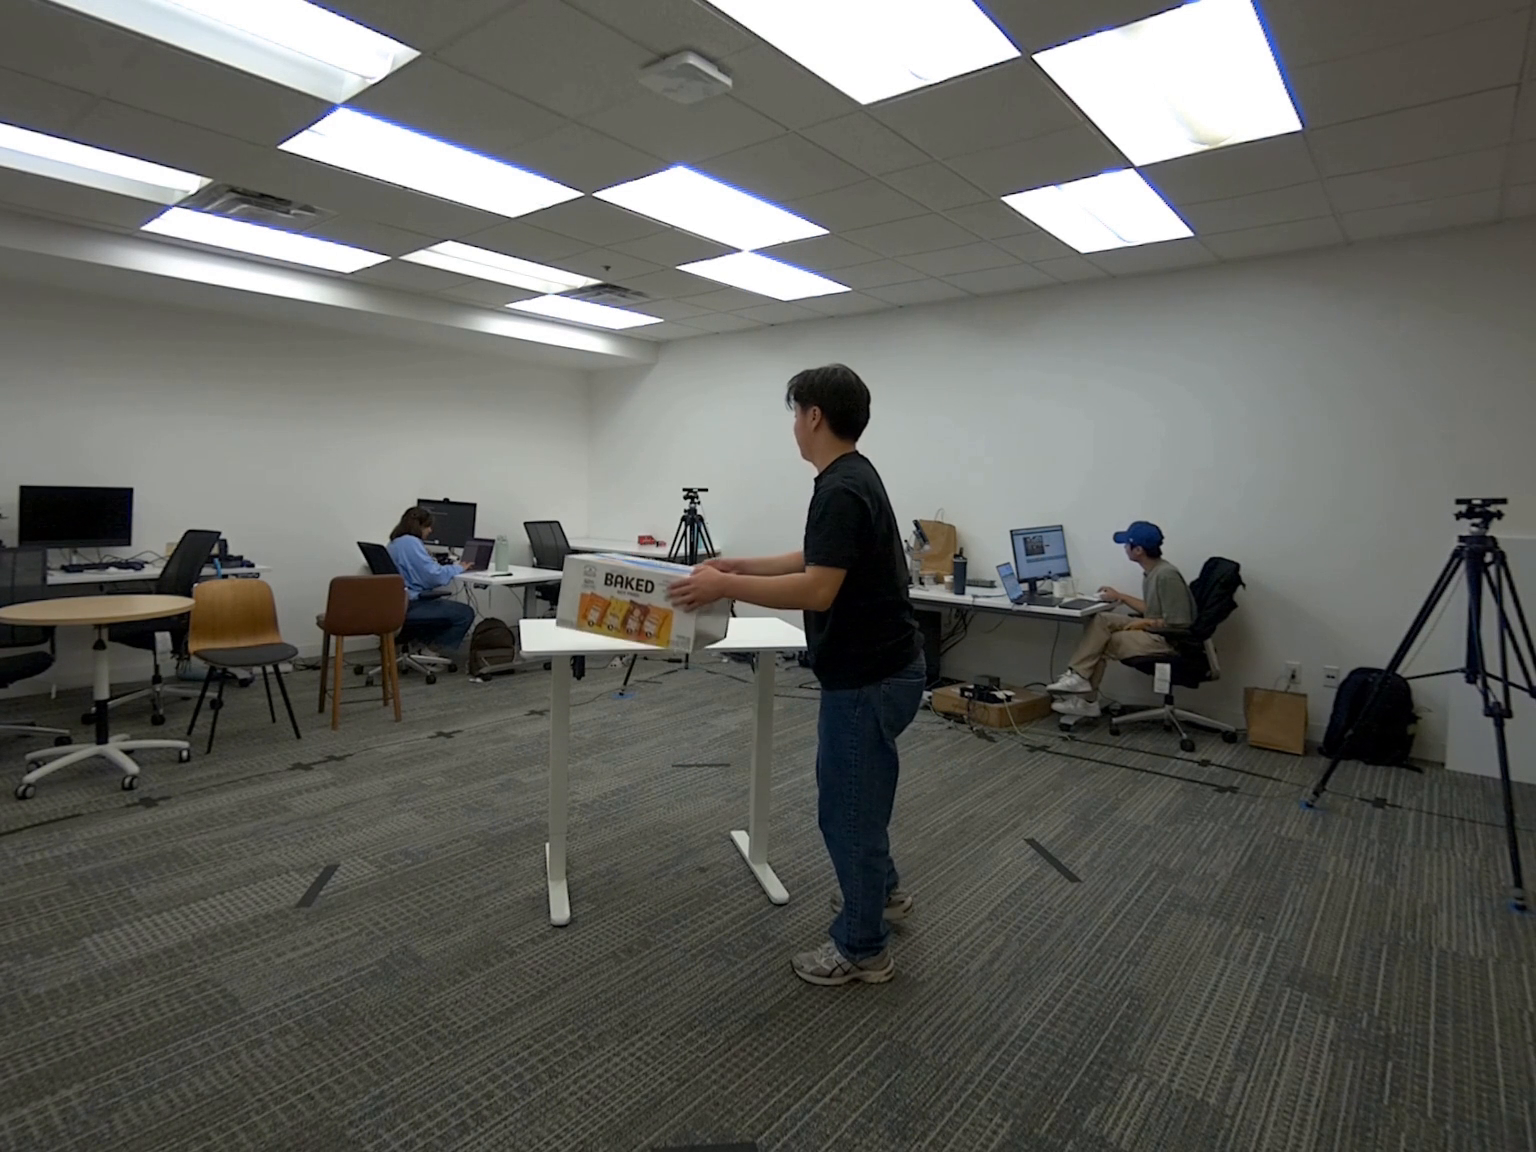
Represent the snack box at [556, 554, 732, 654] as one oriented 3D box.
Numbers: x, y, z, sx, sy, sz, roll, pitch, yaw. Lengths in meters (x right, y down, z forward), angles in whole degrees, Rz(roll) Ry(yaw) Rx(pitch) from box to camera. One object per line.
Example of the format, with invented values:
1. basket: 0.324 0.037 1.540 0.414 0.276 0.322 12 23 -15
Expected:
1. snack box: -0.353 0.079 2.480 0.413 0.205 0.335 10 5 15
